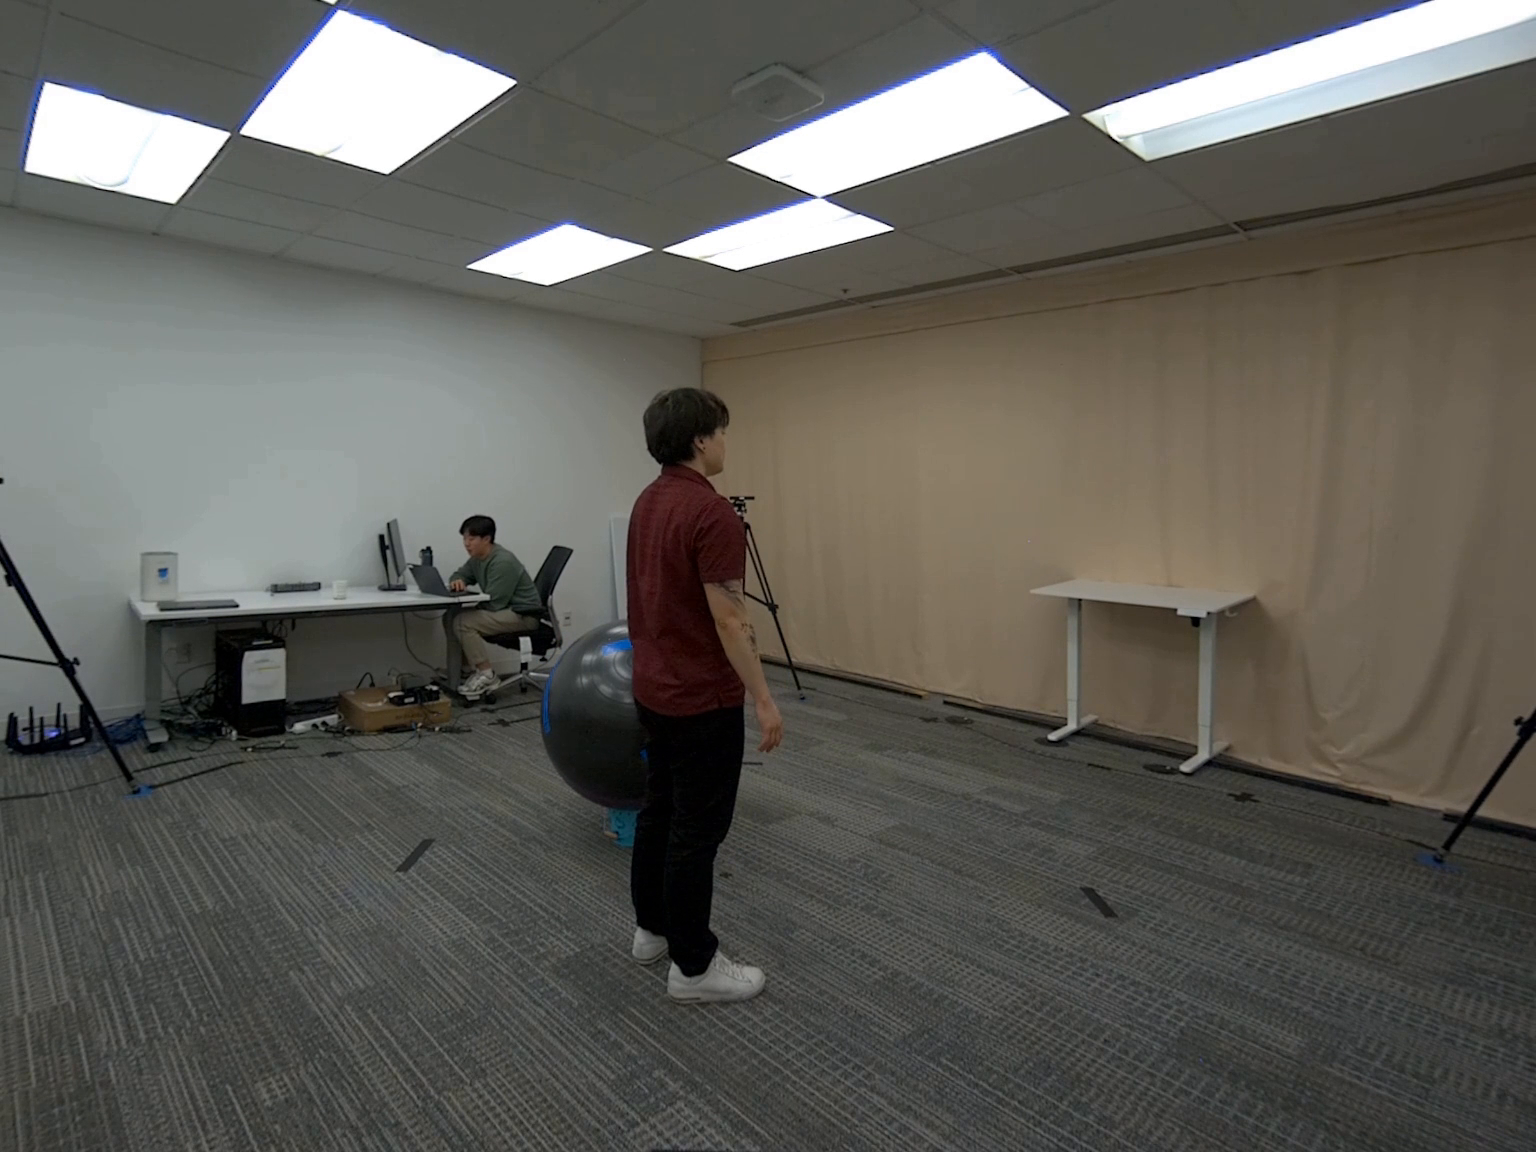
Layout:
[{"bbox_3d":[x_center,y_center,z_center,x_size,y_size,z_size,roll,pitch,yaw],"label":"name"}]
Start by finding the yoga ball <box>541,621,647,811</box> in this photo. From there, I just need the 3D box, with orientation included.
[{"bbox_3d":[-0.548,0.559,3.422,0.757,0.756,0.761,1,4,-1],"label":"yoga ball"}]
